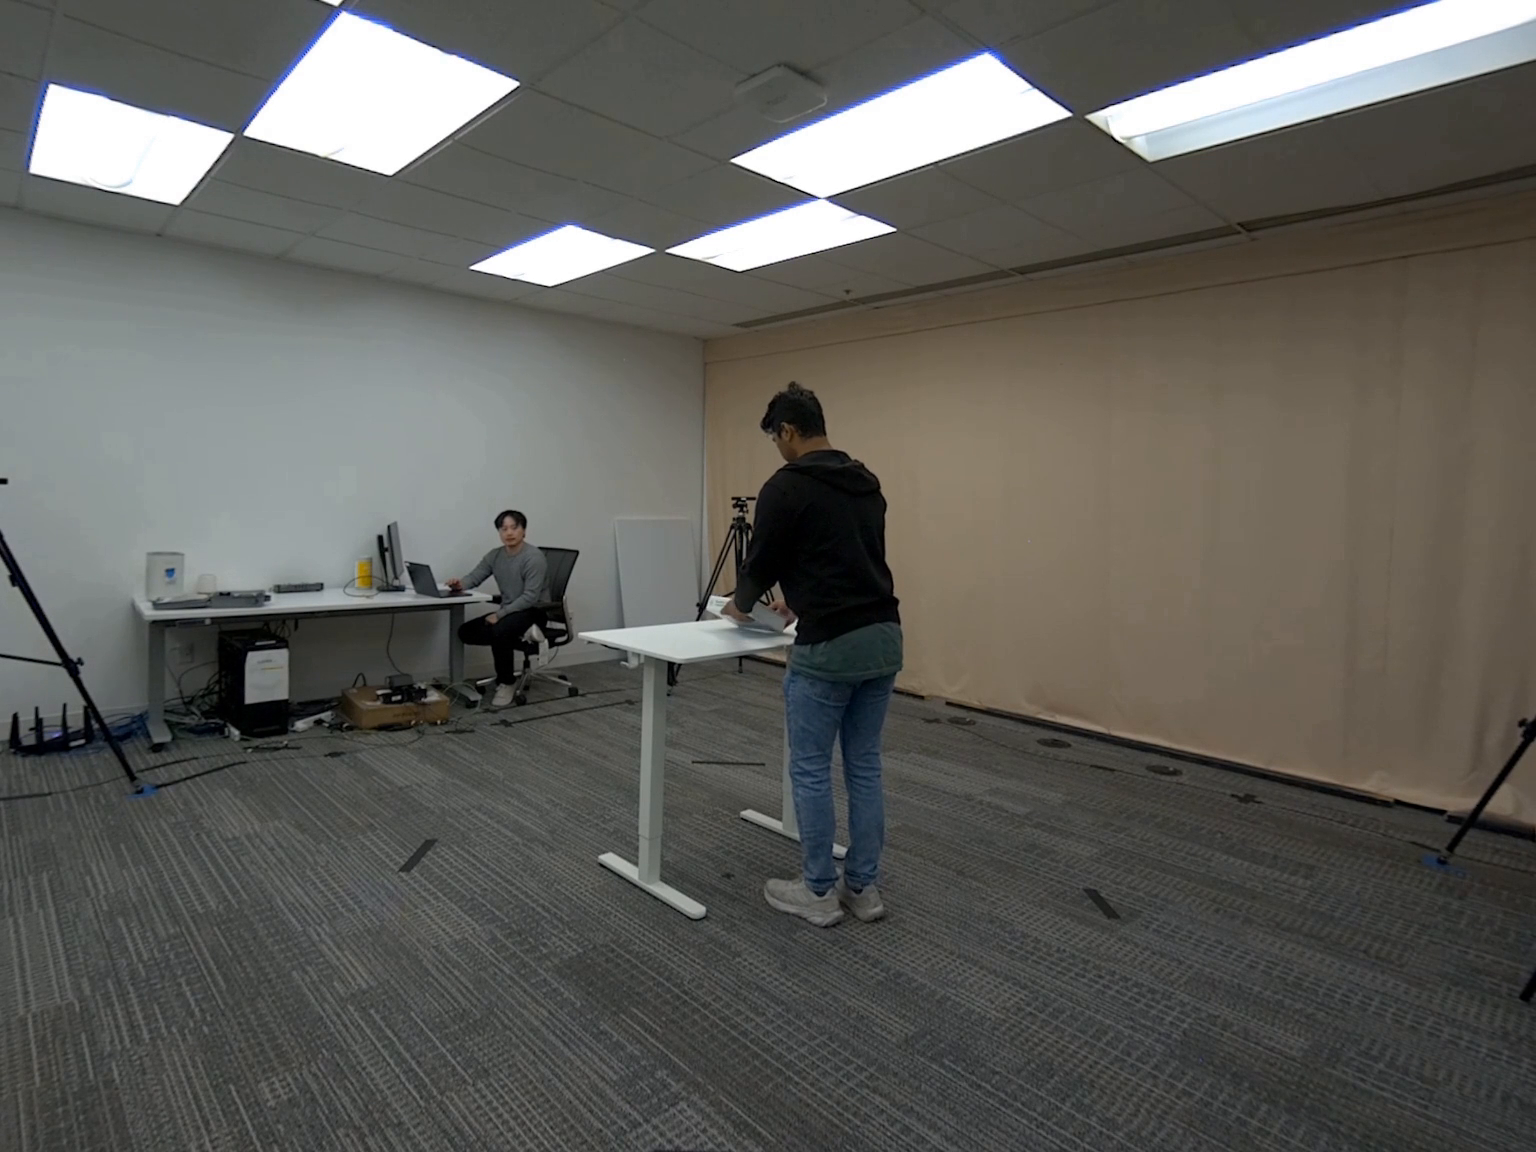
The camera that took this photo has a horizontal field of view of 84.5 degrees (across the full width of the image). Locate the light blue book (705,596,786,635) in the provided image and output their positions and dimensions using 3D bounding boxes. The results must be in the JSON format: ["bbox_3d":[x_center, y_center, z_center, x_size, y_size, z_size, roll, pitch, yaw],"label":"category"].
[{"bbox_3d":[-0.083,0.141,3.207,0.267,0.059,0.185,5,-17,47],"label":"light blue book"}]
